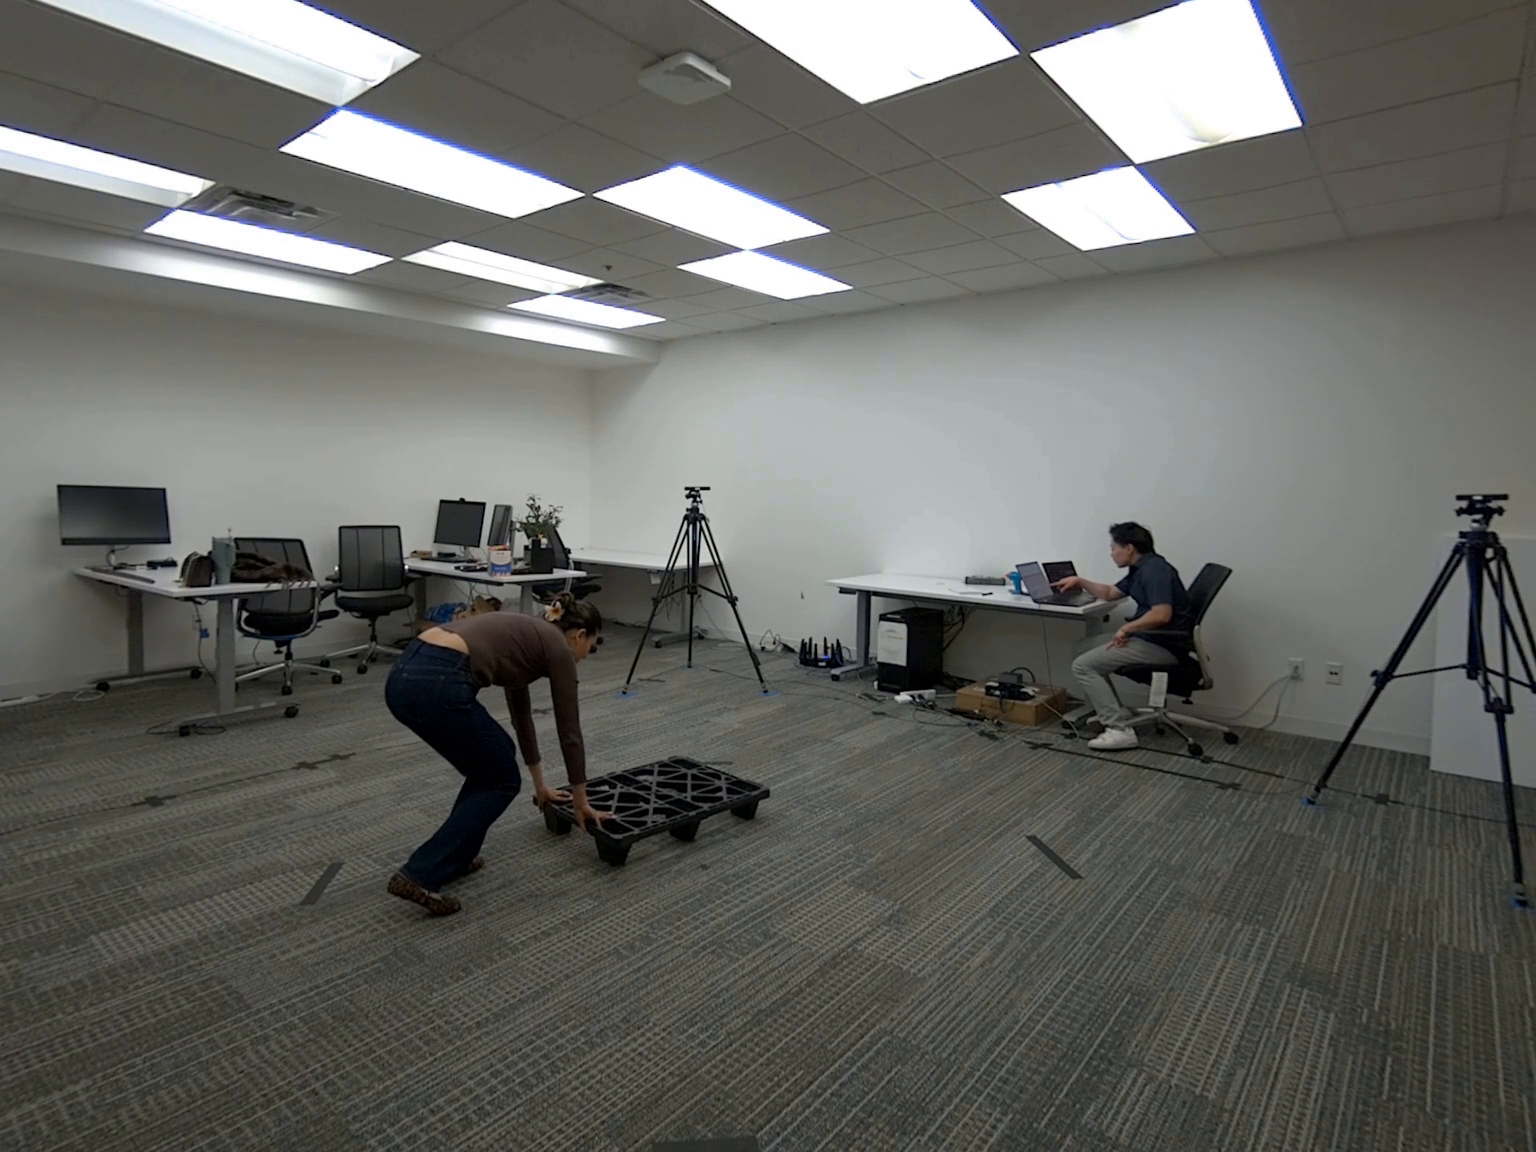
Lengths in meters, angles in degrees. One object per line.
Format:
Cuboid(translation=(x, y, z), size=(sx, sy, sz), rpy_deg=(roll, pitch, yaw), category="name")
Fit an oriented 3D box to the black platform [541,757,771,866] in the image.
Cuboid(translation=(-0.490, 0.953, 3.522), size=(0.781, 0.143, 0.626), rpy_deg=(-5, 7, -45), category="black platform")
